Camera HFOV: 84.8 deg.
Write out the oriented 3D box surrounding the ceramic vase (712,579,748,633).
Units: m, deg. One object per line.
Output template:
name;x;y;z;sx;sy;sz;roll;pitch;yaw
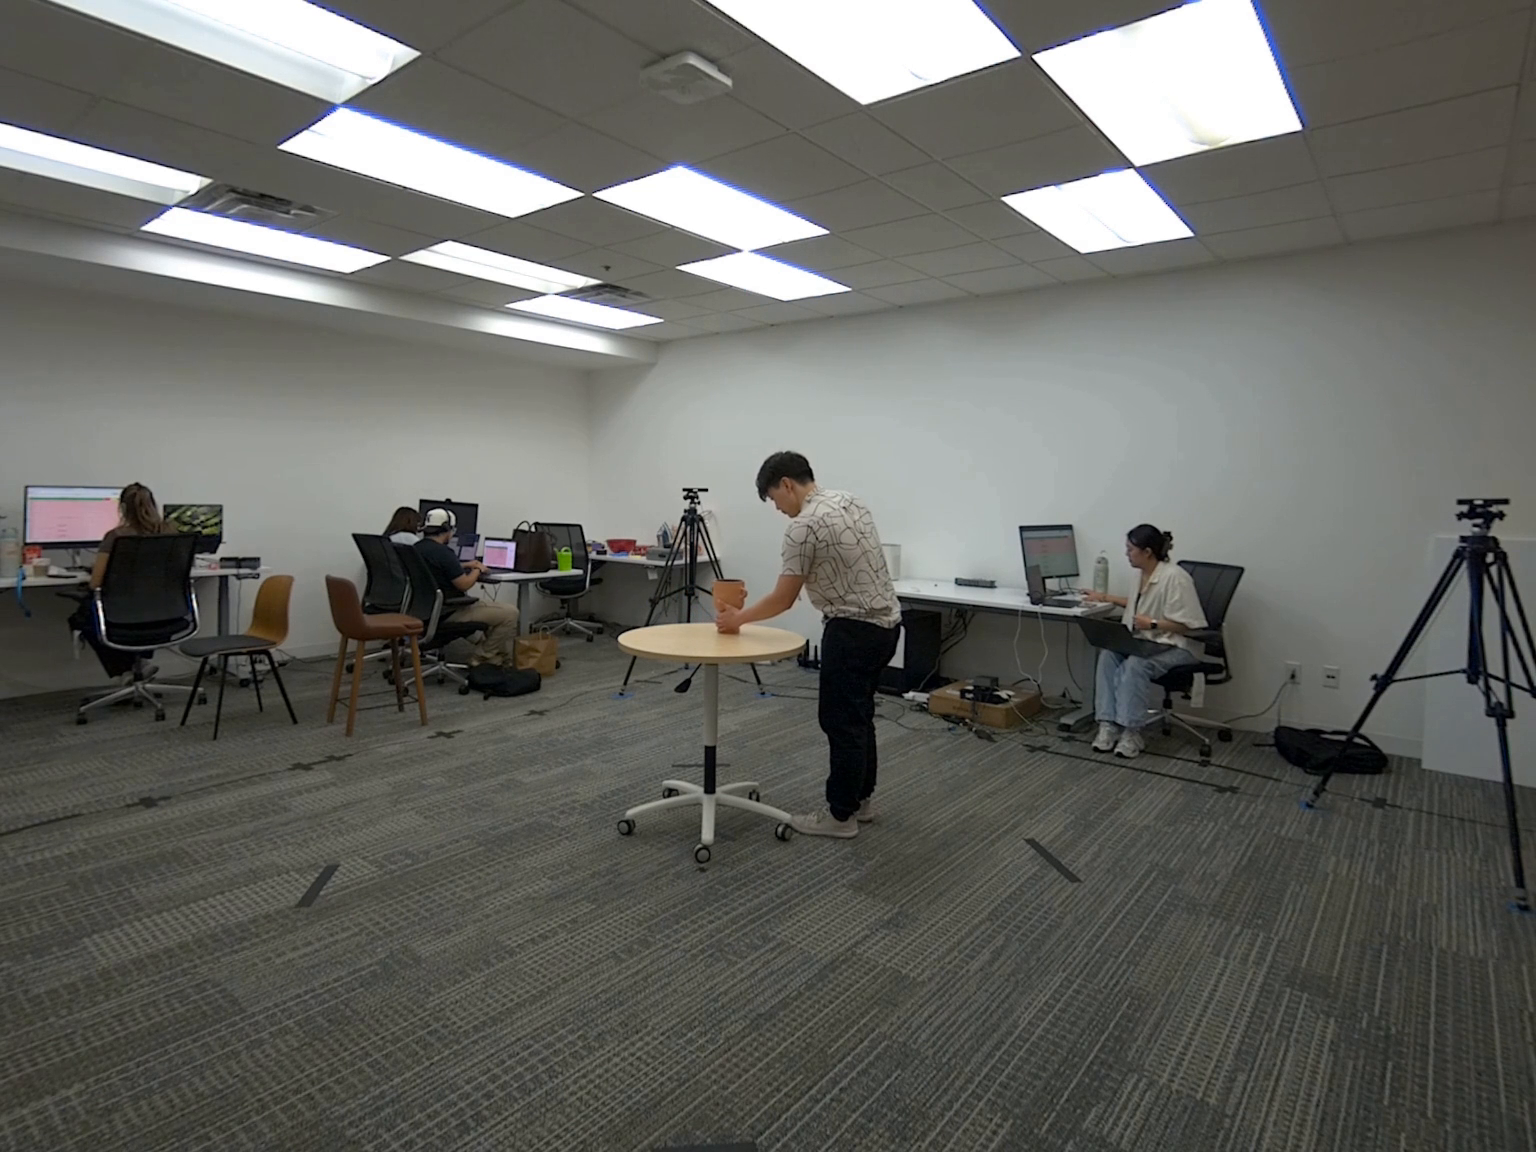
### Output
ceramic vase;-0.173;0.126;3.645;0.133;0.219;0.161;0;3;-10
